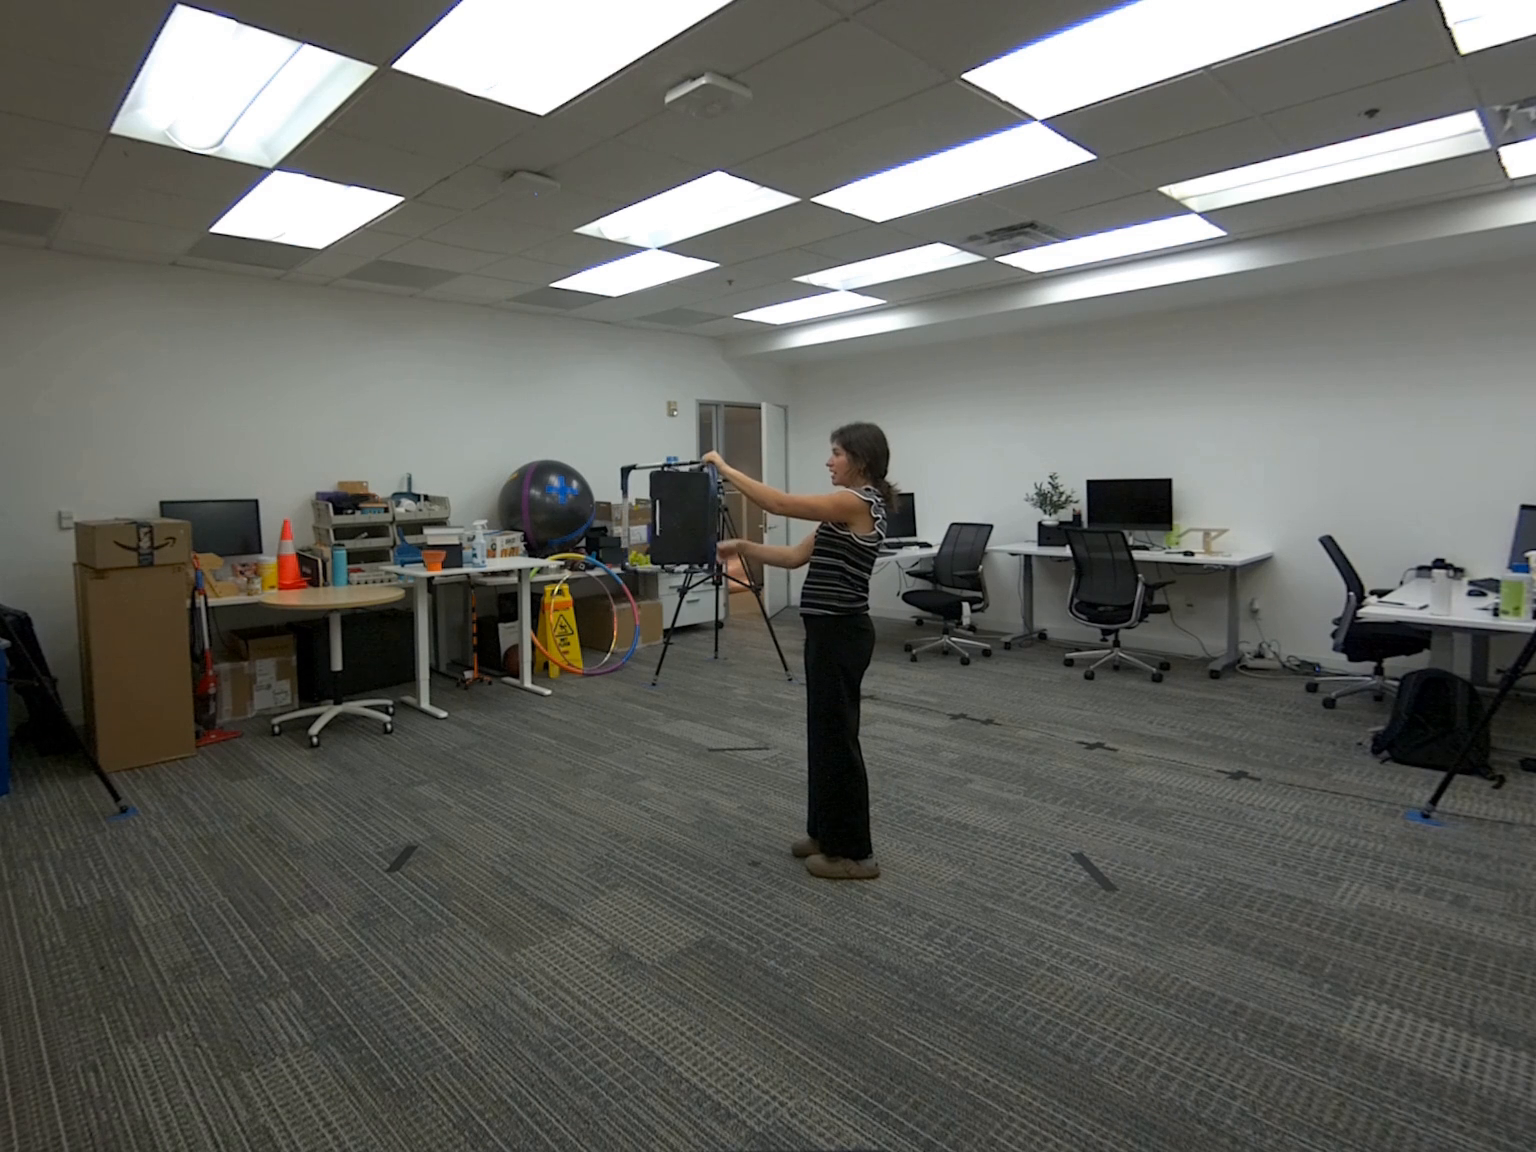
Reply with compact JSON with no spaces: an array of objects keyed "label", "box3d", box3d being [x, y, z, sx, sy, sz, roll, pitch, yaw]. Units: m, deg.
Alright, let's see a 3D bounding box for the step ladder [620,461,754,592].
[{"label":"step ladder","box3d":[-0.276,-0.210,3.173,0.341,0.430,0.622,-2,3,-31]}]
